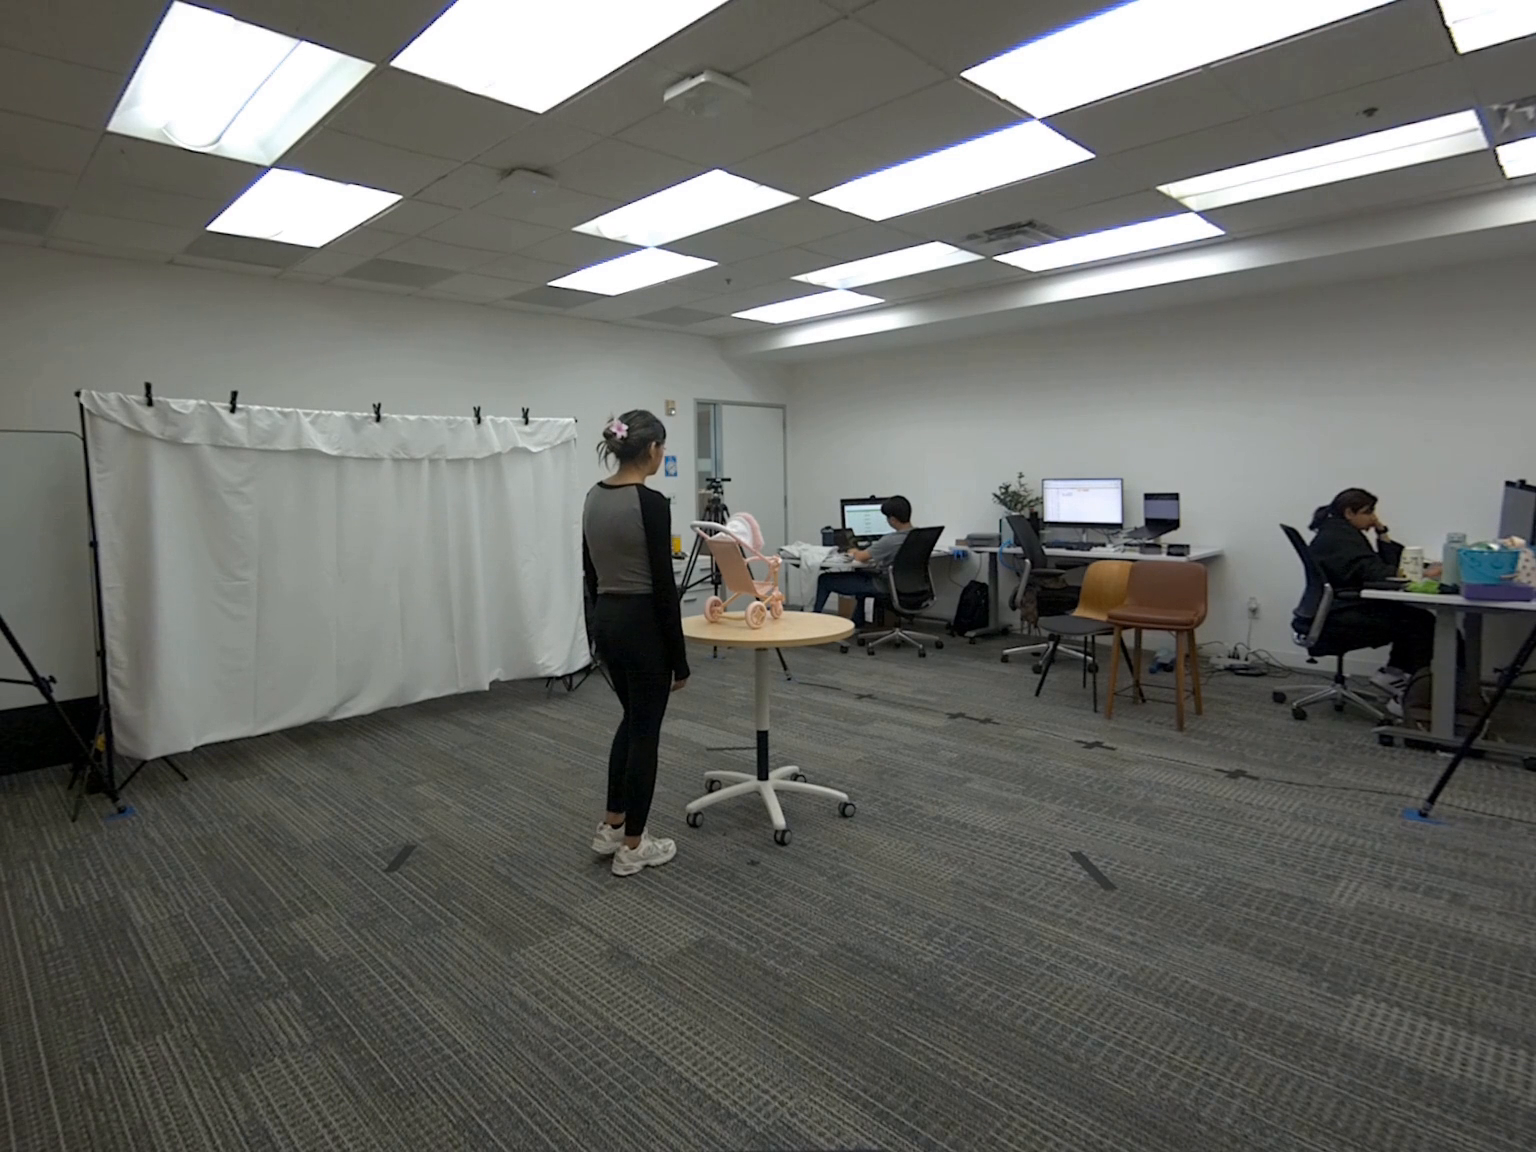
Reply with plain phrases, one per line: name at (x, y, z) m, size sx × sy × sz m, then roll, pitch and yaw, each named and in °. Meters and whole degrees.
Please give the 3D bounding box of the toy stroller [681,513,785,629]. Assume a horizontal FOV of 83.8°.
toy stroller at (-0.097, -0.023, 3.547) m, size 0.336 × 0.527 × 0.290 m, roll -24°, pitch 18°, yaw -38°
